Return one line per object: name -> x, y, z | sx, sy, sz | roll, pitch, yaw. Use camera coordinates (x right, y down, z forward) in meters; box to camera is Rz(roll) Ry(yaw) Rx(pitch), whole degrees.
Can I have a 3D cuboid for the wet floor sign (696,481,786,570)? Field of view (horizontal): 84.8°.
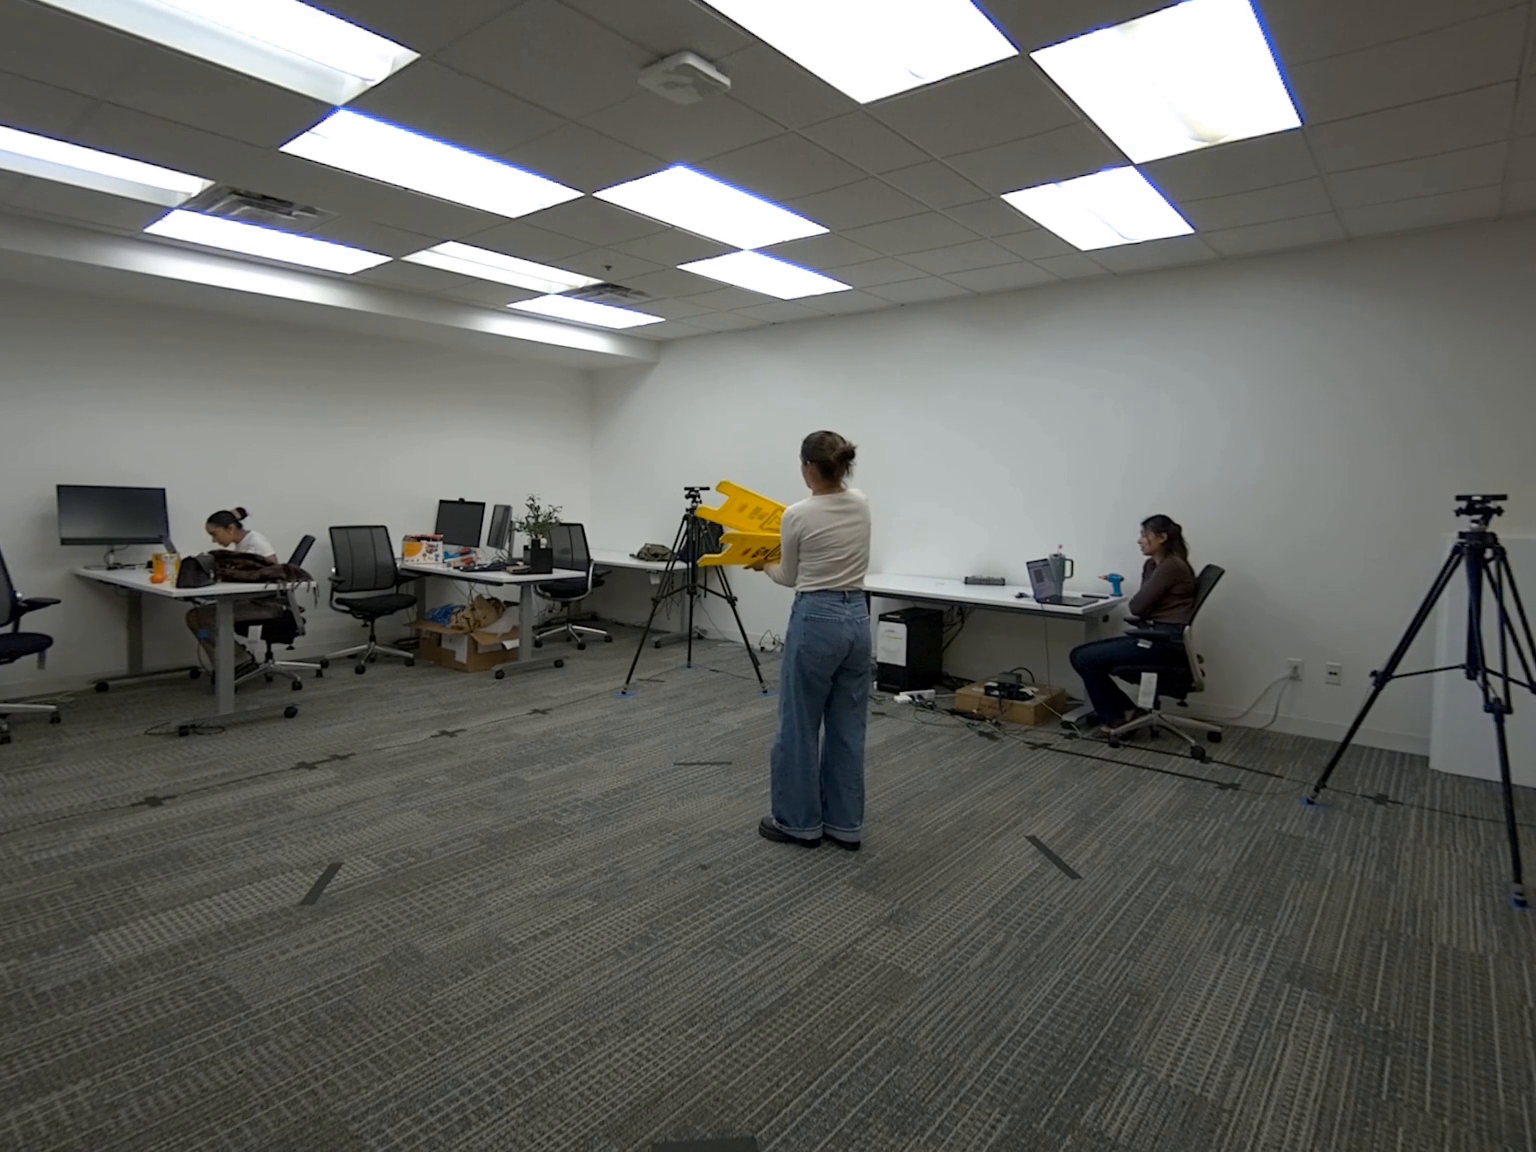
wet floor sign -> 0.030, -0.160, 3.579 | 0.629, 0.297, 0.282 | 10, -33, -24
